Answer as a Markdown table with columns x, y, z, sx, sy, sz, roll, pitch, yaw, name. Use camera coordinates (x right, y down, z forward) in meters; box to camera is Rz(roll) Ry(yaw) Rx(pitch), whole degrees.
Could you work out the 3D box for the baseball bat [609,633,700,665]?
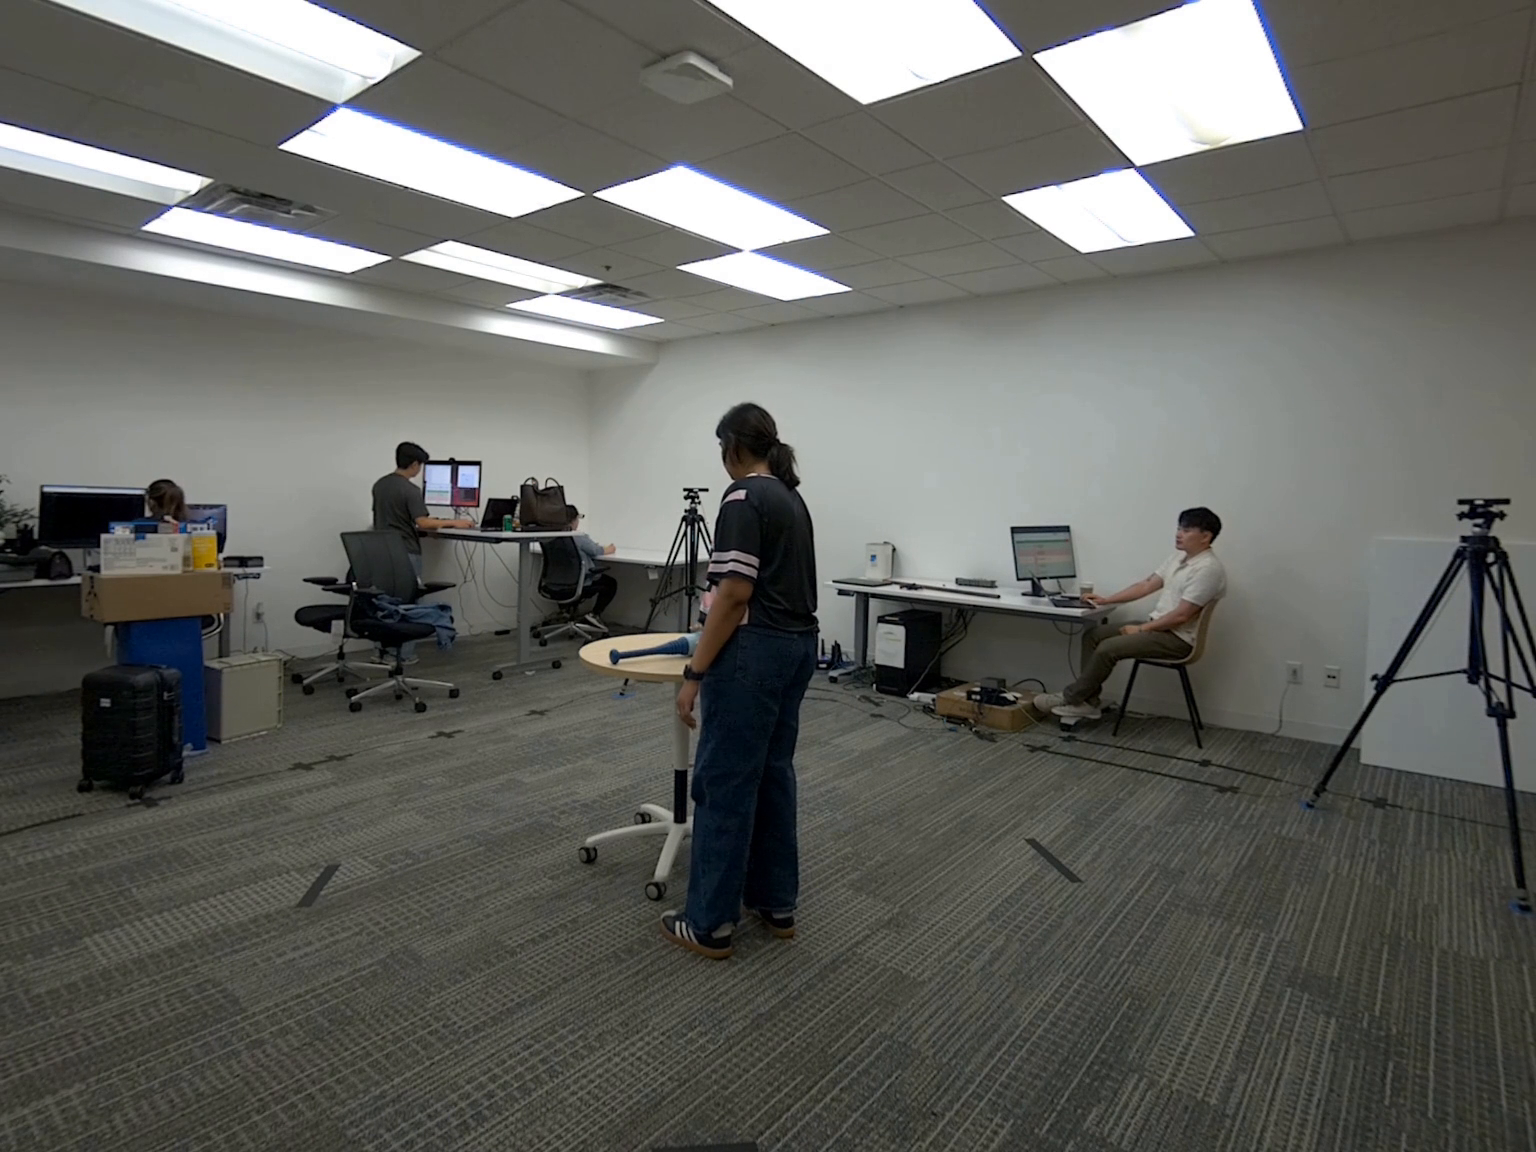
| x | y | z | sx | sy | sz | roll | pitch | yaw | name |
| --- | --- | --- | --- | --- | --- | --- | --- | --- | --- |
| -0.327 | 0.253 | 3.047 | 0.529 | 0.088 | 0.092 | -7 | 8 | -32 | baseball bat |
